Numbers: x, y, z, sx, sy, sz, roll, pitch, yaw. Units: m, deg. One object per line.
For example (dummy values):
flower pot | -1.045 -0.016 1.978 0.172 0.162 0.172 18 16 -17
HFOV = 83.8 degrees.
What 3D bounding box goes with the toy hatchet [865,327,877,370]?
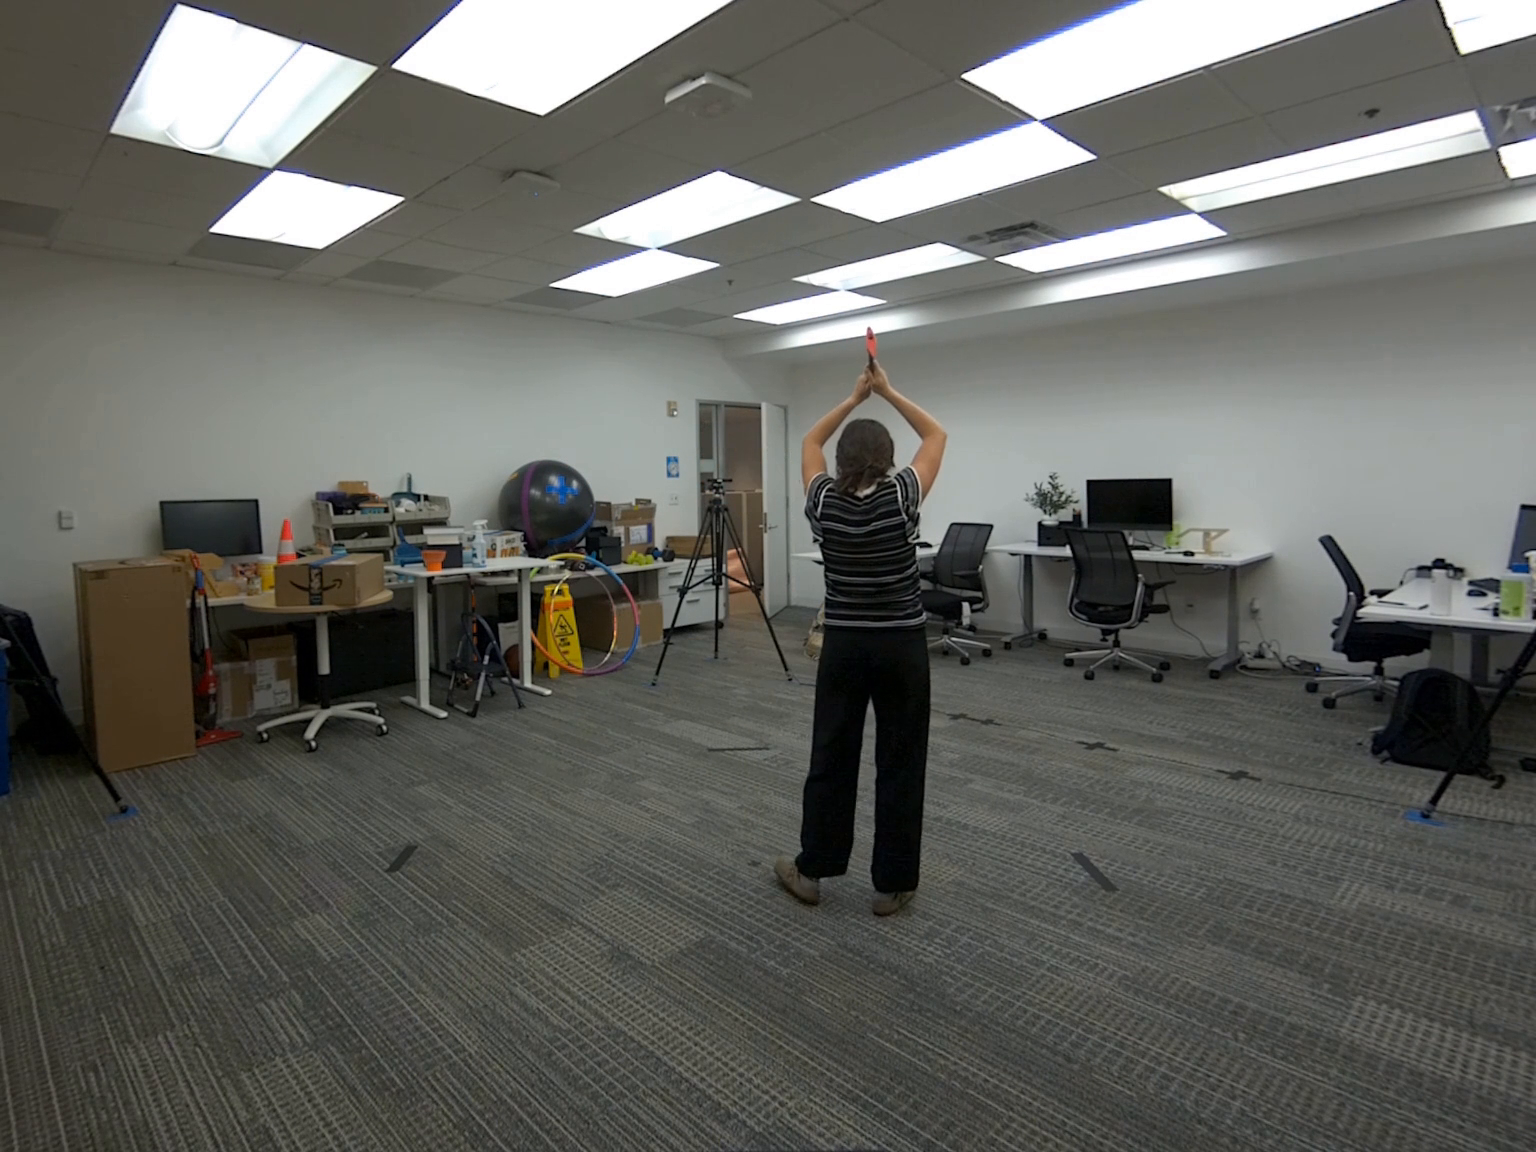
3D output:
toy hatchet | 0.345 -0.742 2.874 0.030 0.133 0.265 -6 -14 3
